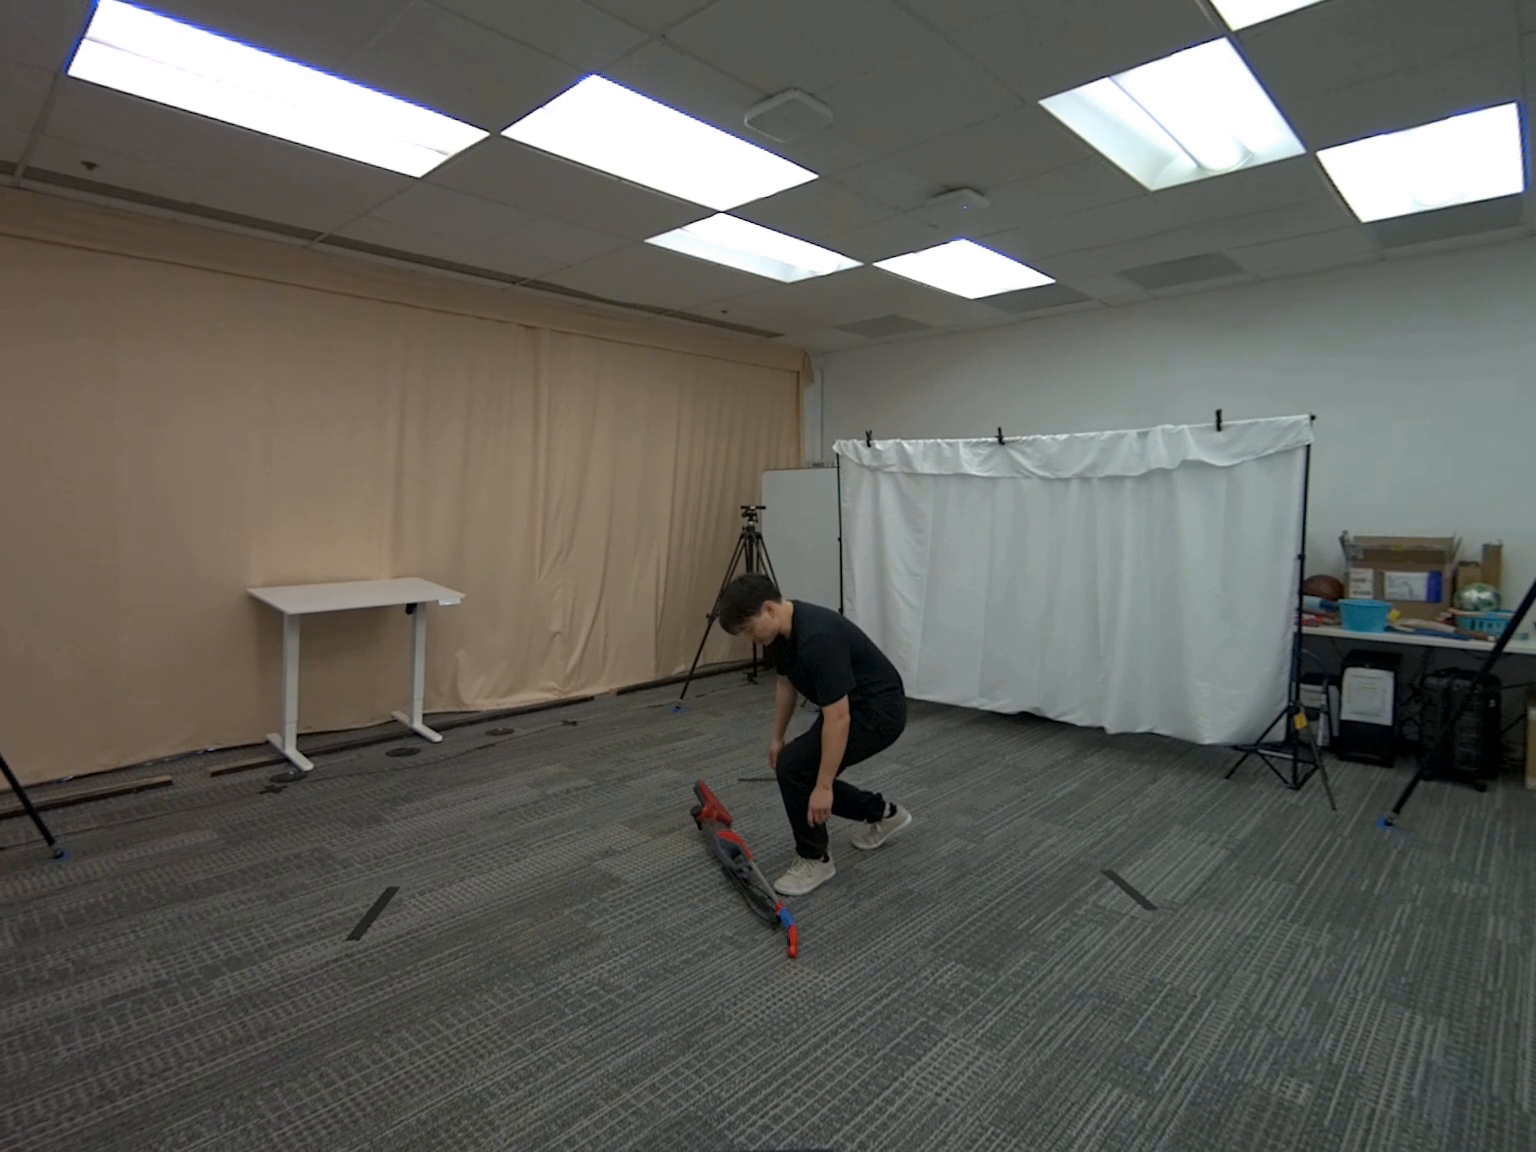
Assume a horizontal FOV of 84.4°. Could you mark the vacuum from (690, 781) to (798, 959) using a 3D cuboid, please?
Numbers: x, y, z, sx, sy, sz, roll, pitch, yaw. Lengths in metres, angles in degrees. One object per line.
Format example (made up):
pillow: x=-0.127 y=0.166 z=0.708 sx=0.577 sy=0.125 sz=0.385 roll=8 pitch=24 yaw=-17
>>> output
vacuum: x=-0.076 y=1.071 z=3.104 sx=0.143 sy=0.248 sz=1.073 roll=-38 pitch=18 yaw=-10
